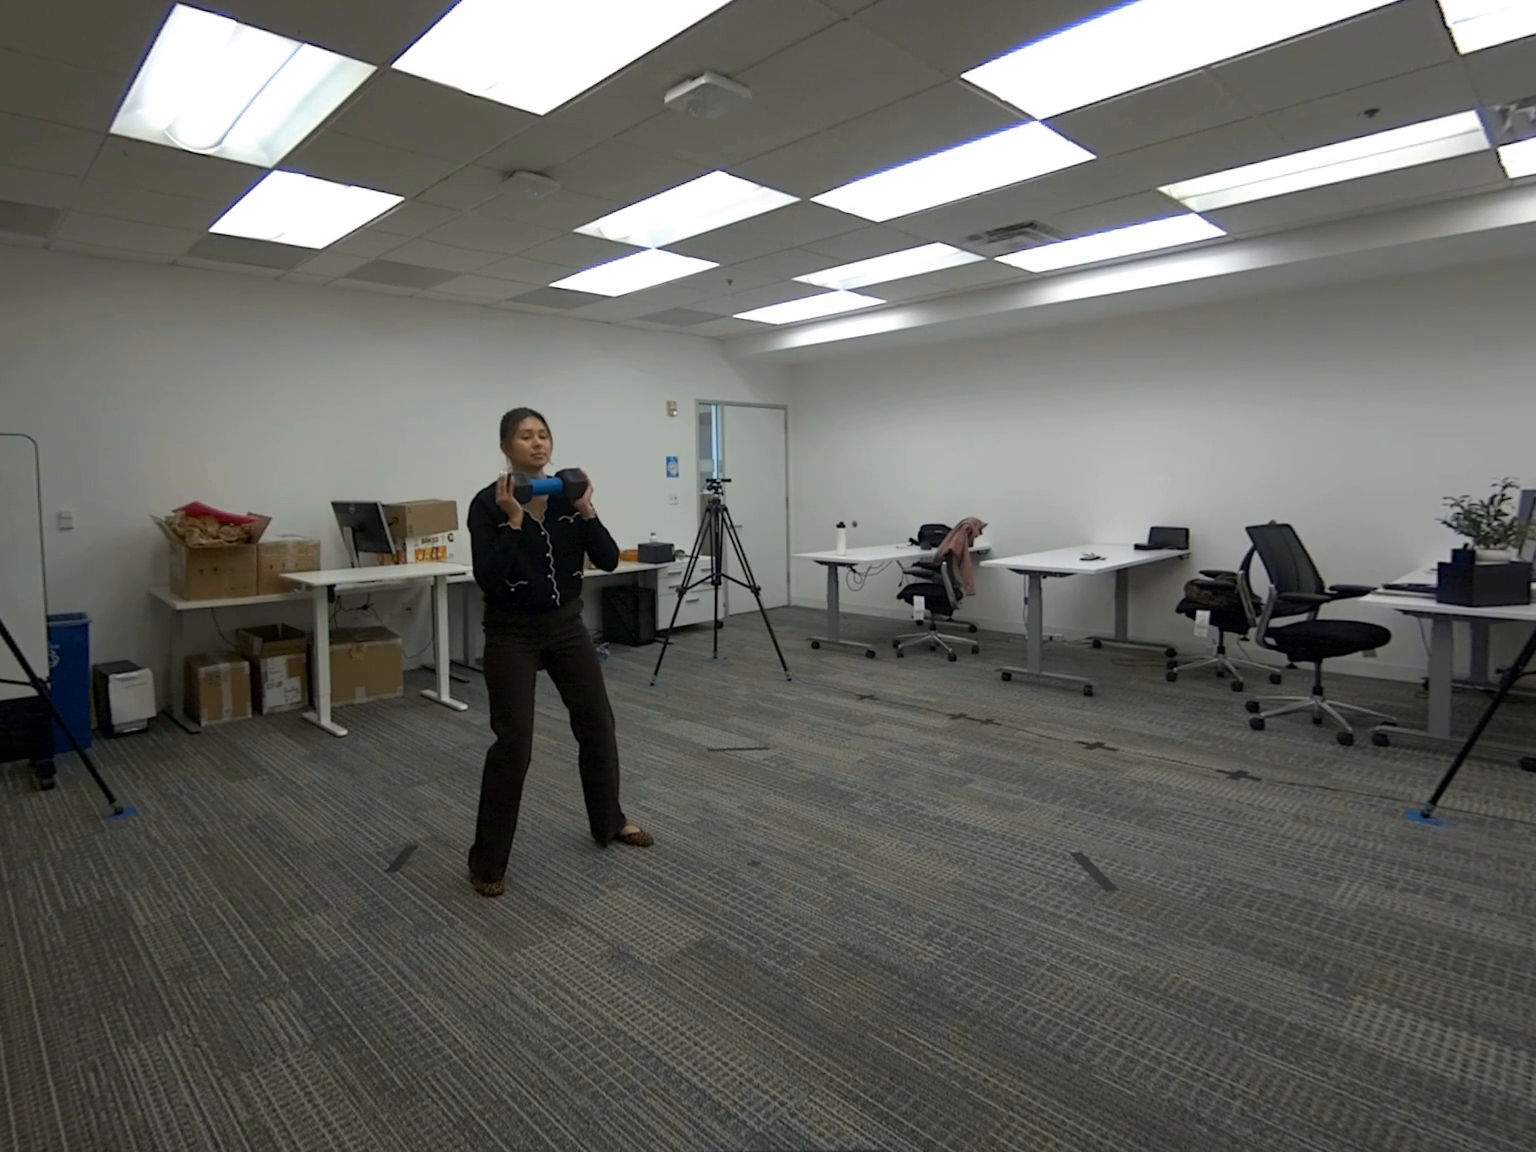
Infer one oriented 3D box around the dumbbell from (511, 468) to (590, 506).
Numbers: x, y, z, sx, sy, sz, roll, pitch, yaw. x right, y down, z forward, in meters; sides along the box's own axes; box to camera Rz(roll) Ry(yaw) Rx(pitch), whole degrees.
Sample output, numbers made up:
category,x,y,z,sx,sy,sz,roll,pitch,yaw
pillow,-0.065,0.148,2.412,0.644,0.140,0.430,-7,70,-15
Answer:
category,x,y,z,sx,sy,sz,roll,pitch,yaw
dumbbell,-0.805,-0.297,2.983,0.286,0.127,0.108,-10,-34,-41
